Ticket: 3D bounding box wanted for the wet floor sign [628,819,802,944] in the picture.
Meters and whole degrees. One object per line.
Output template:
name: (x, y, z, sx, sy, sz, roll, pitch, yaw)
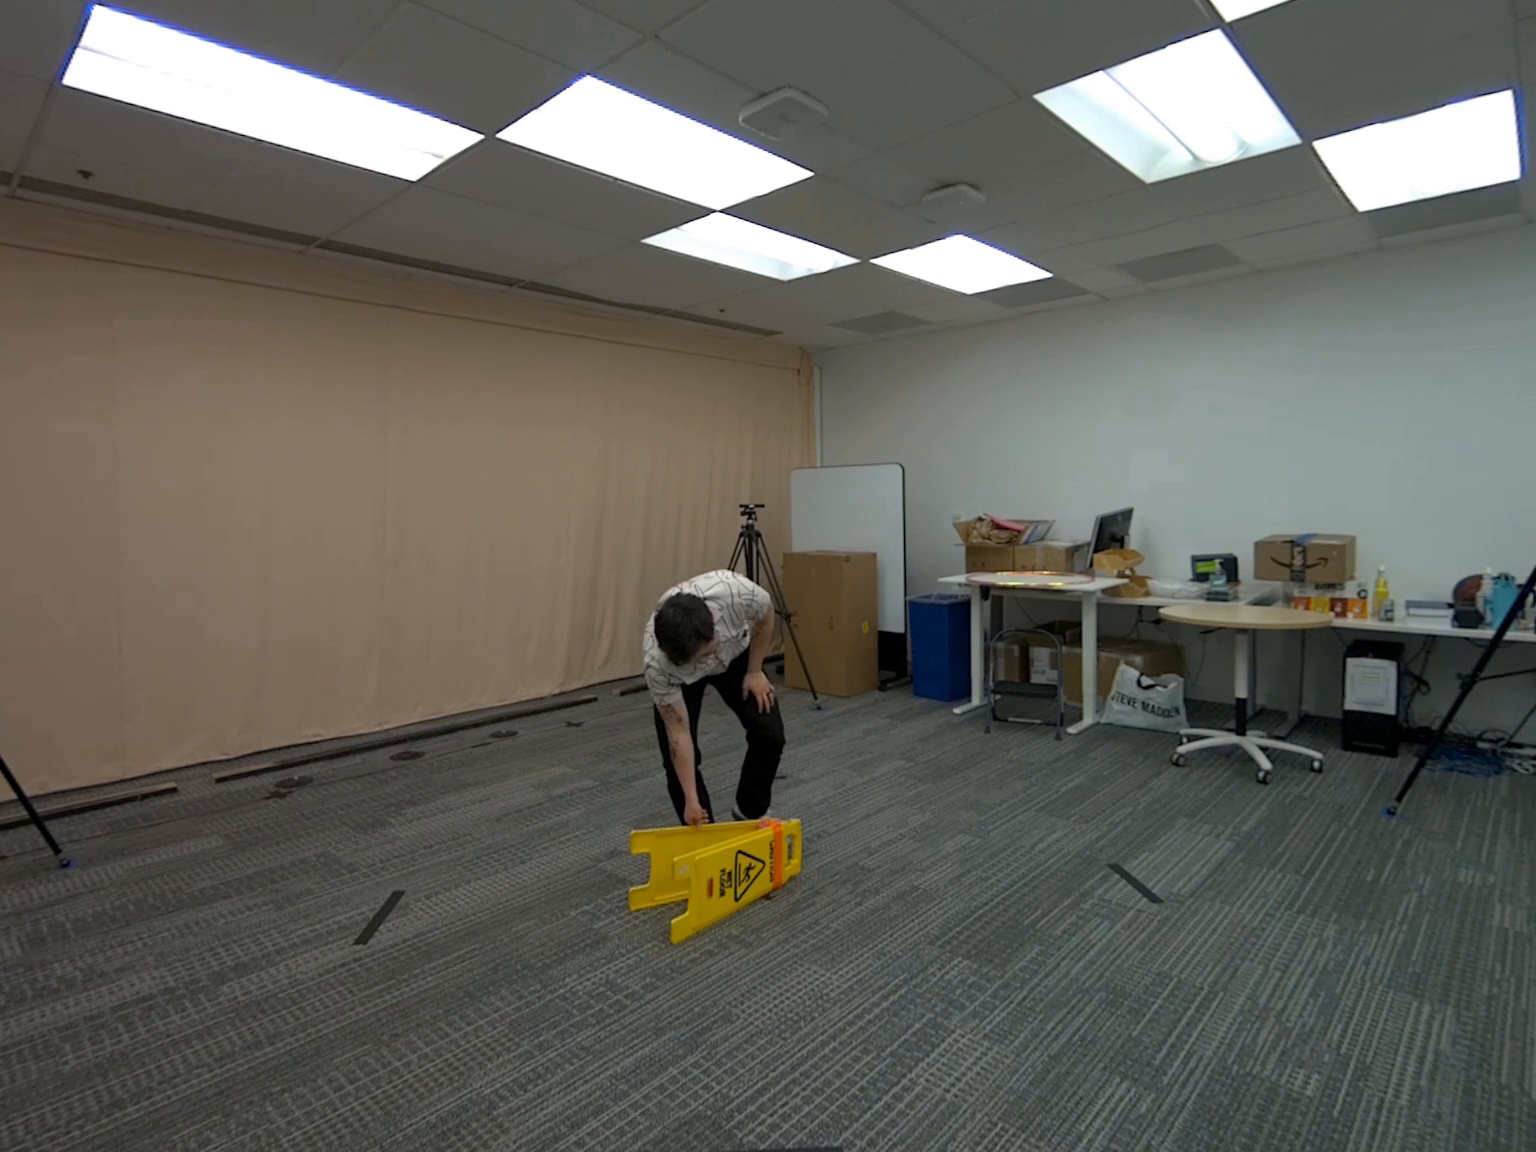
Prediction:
wet floor sign: (-0.136, 1.014, 2.962, 0.627, 0.282, 0.299, -1, 4, -35)
